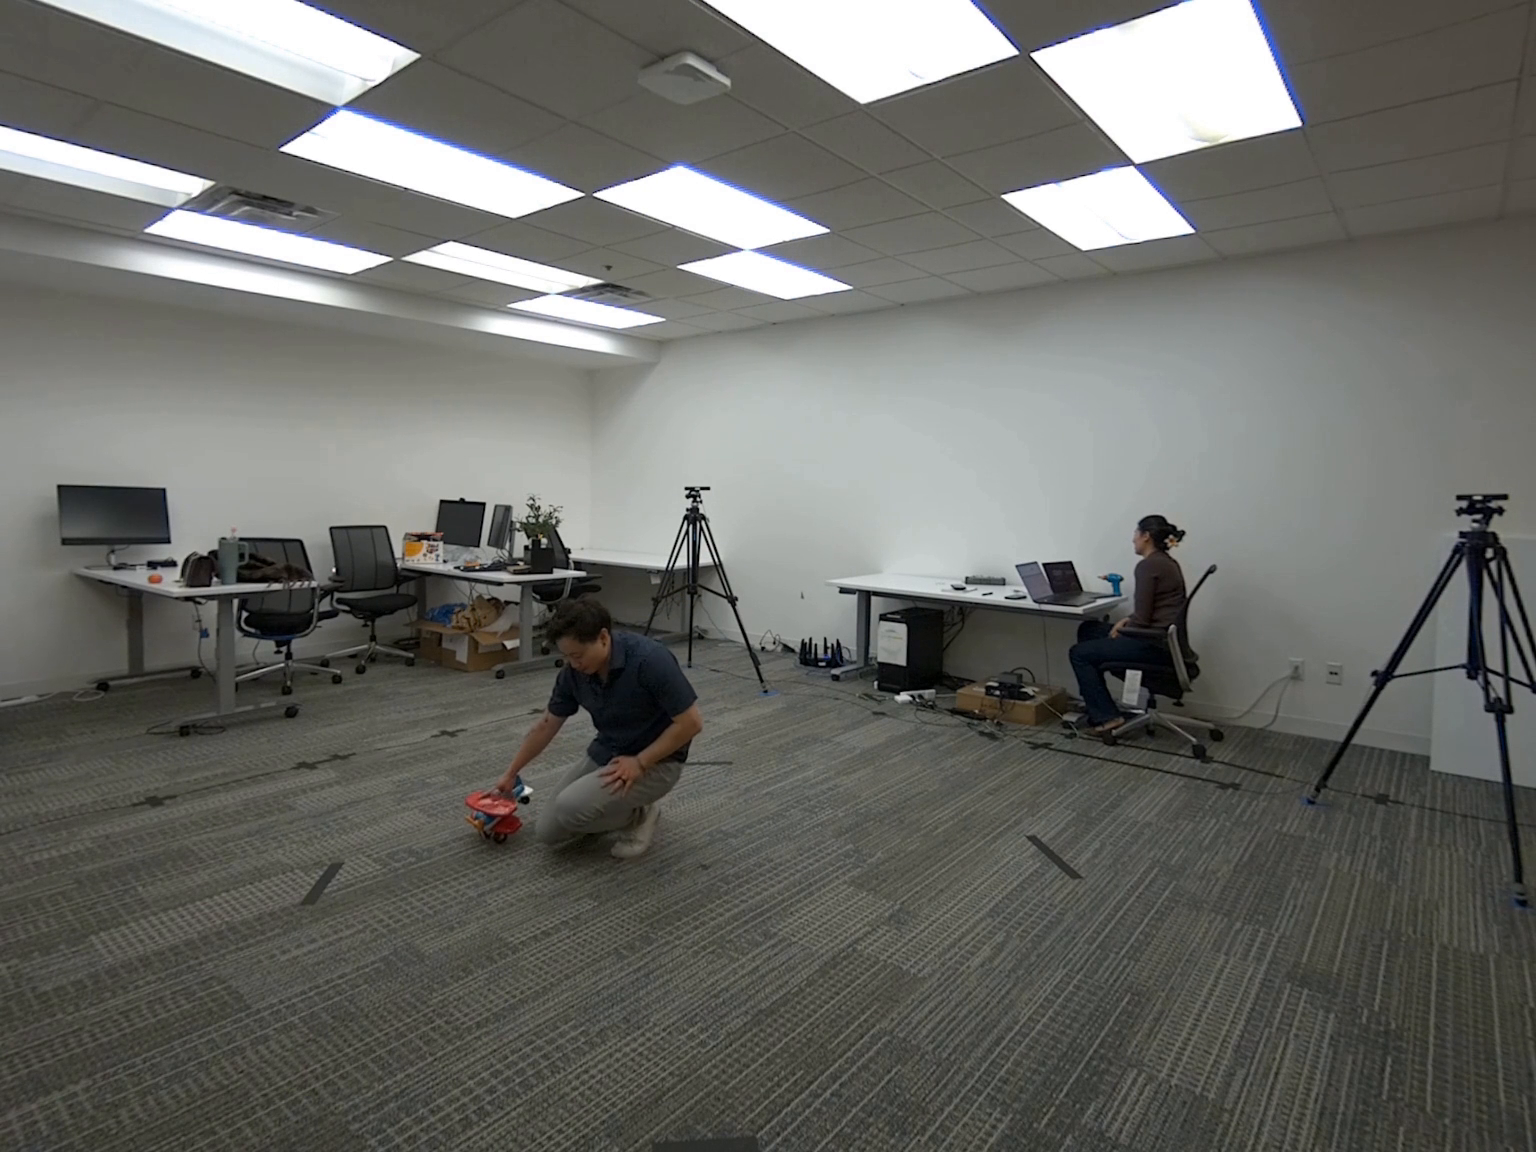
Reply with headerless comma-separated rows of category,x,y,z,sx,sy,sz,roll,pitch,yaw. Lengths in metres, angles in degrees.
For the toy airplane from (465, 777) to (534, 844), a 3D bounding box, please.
toy airplane,-1.087,0.922,3.371,0.253,0.151,0.266,-14,34,9
